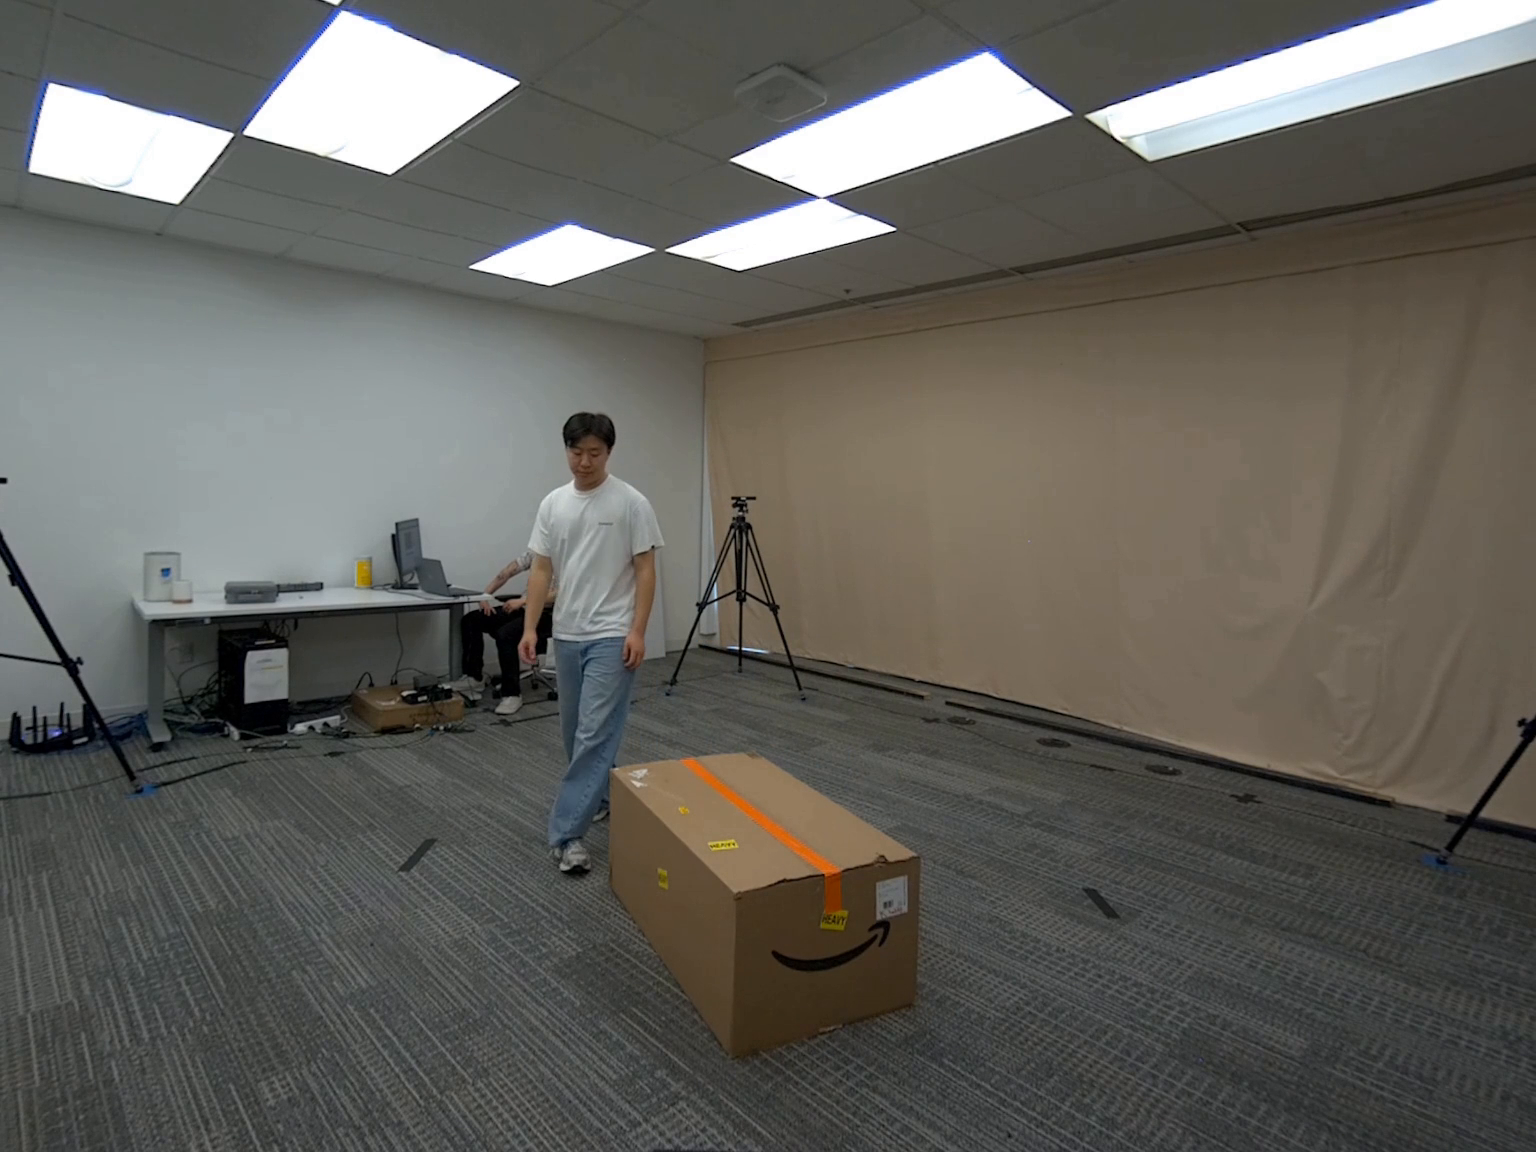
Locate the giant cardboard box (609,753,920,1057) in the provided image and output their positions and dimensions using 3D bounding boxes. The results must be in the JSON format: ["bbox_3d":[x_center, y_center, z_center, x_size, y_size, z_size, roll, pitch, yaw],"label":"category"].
[{"bbox_3d":[-0.075,0.935,2.653,0.567,0.425,1.048,-1,6,-27],"label":"giant cardboard box"}]
